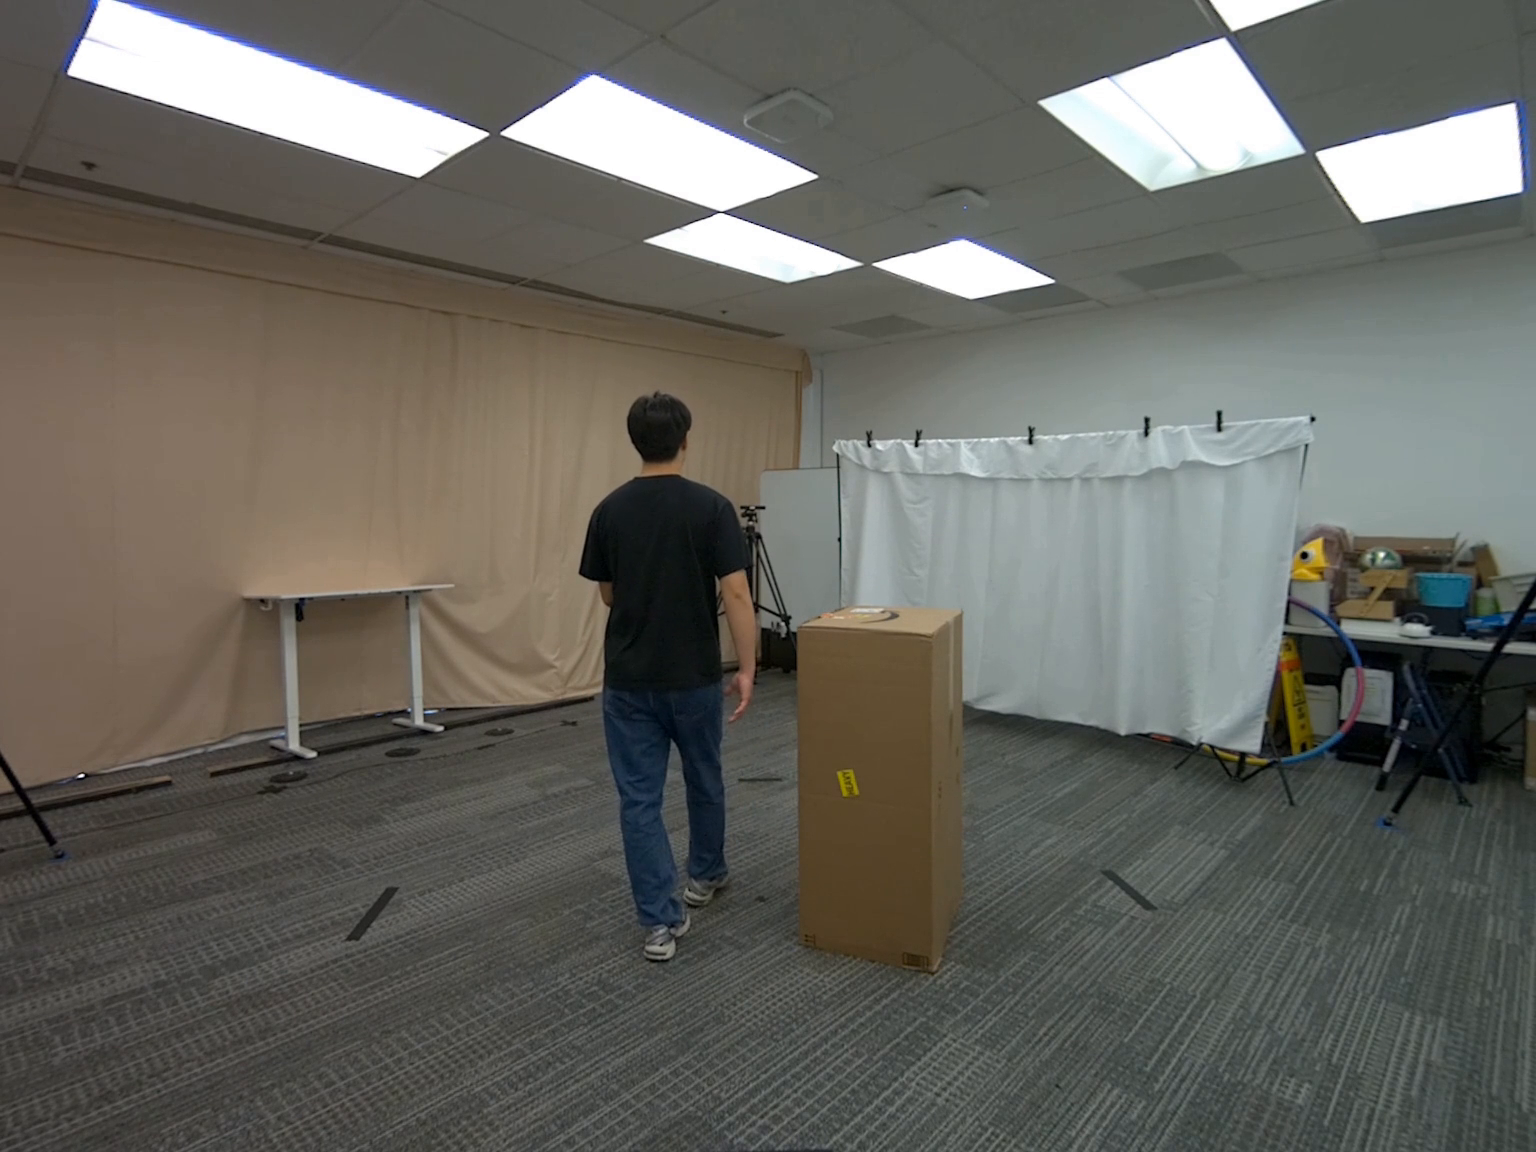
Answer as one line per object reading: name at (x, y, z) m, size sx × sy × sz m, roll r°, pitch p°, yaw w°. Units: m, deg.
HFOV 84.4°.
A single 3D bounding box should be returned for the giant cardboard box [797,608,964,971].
giant cardboard box at (0.397, 0.645, 2.817) m, size 0.458 × 1.025 × 0.570 m, roll 1°, pitch 3°, yaw 25°
